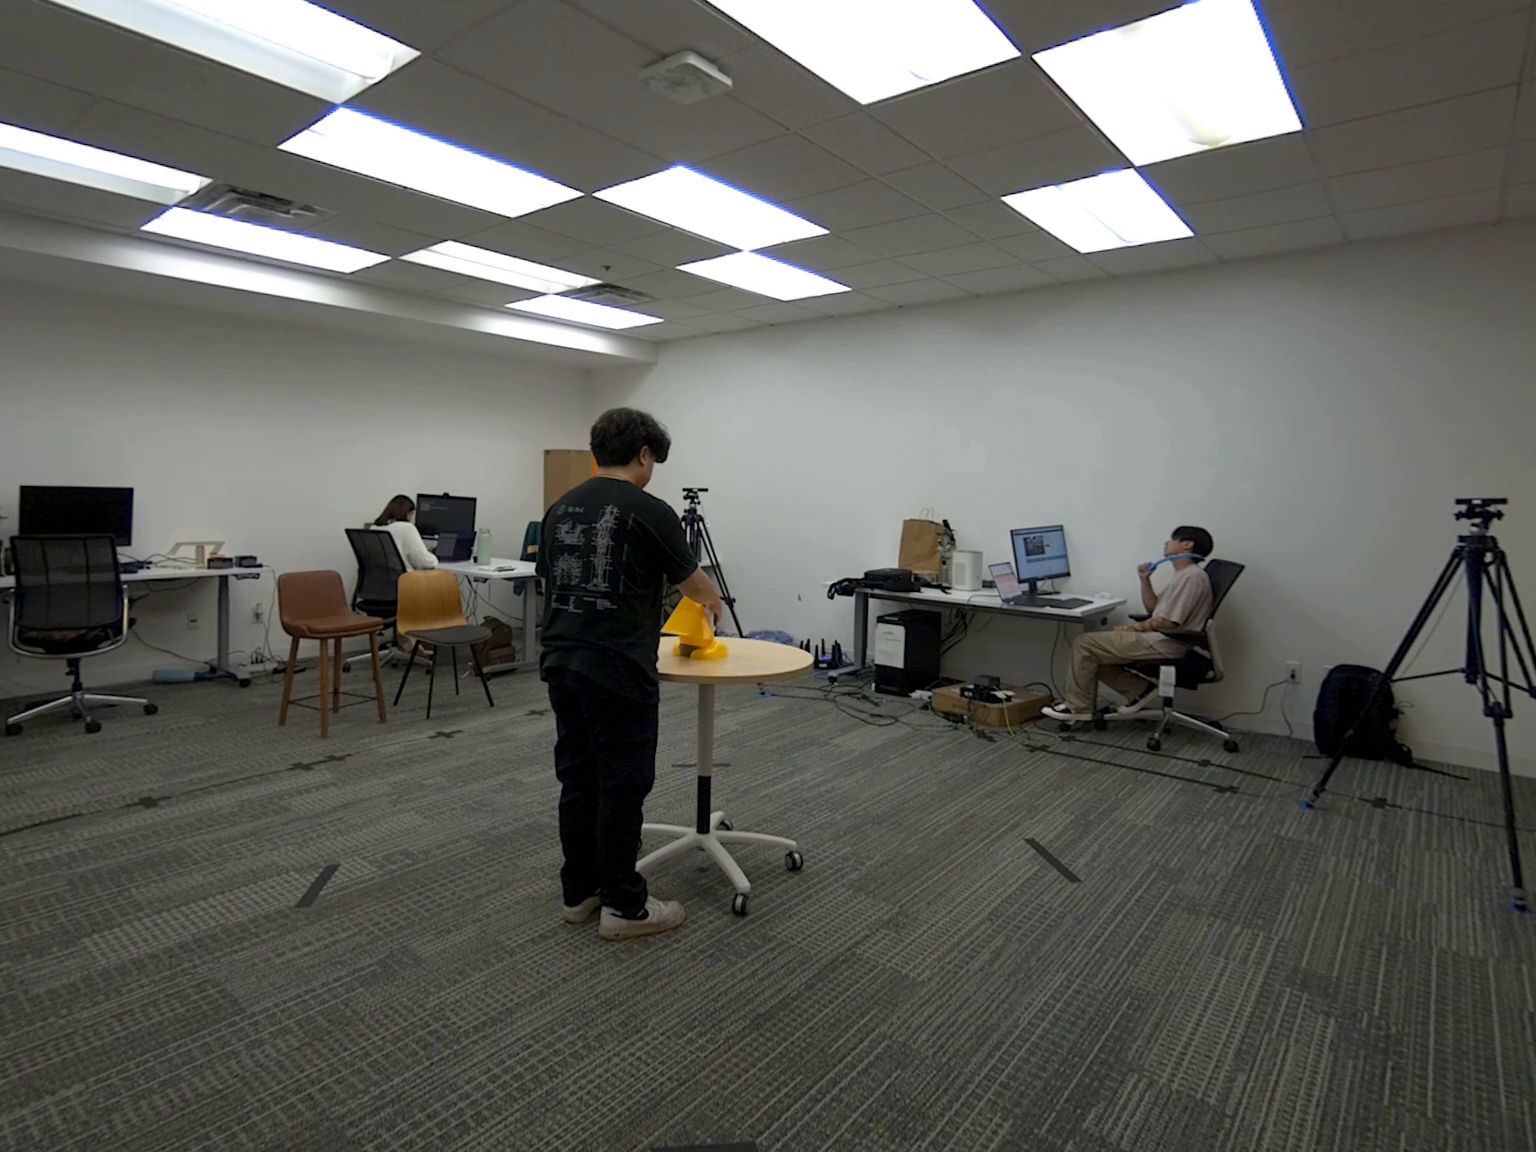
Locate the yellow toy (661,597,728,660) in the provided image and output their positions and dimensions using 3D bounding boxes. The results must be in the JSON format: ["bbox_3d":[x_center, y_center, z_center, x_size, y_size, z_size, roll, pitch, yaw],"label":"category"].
[{"bbox_3d":[-0.261,0.166,3.052,0.211,0.230,0.187,4,5,37],"label":"yellow toy"}]
